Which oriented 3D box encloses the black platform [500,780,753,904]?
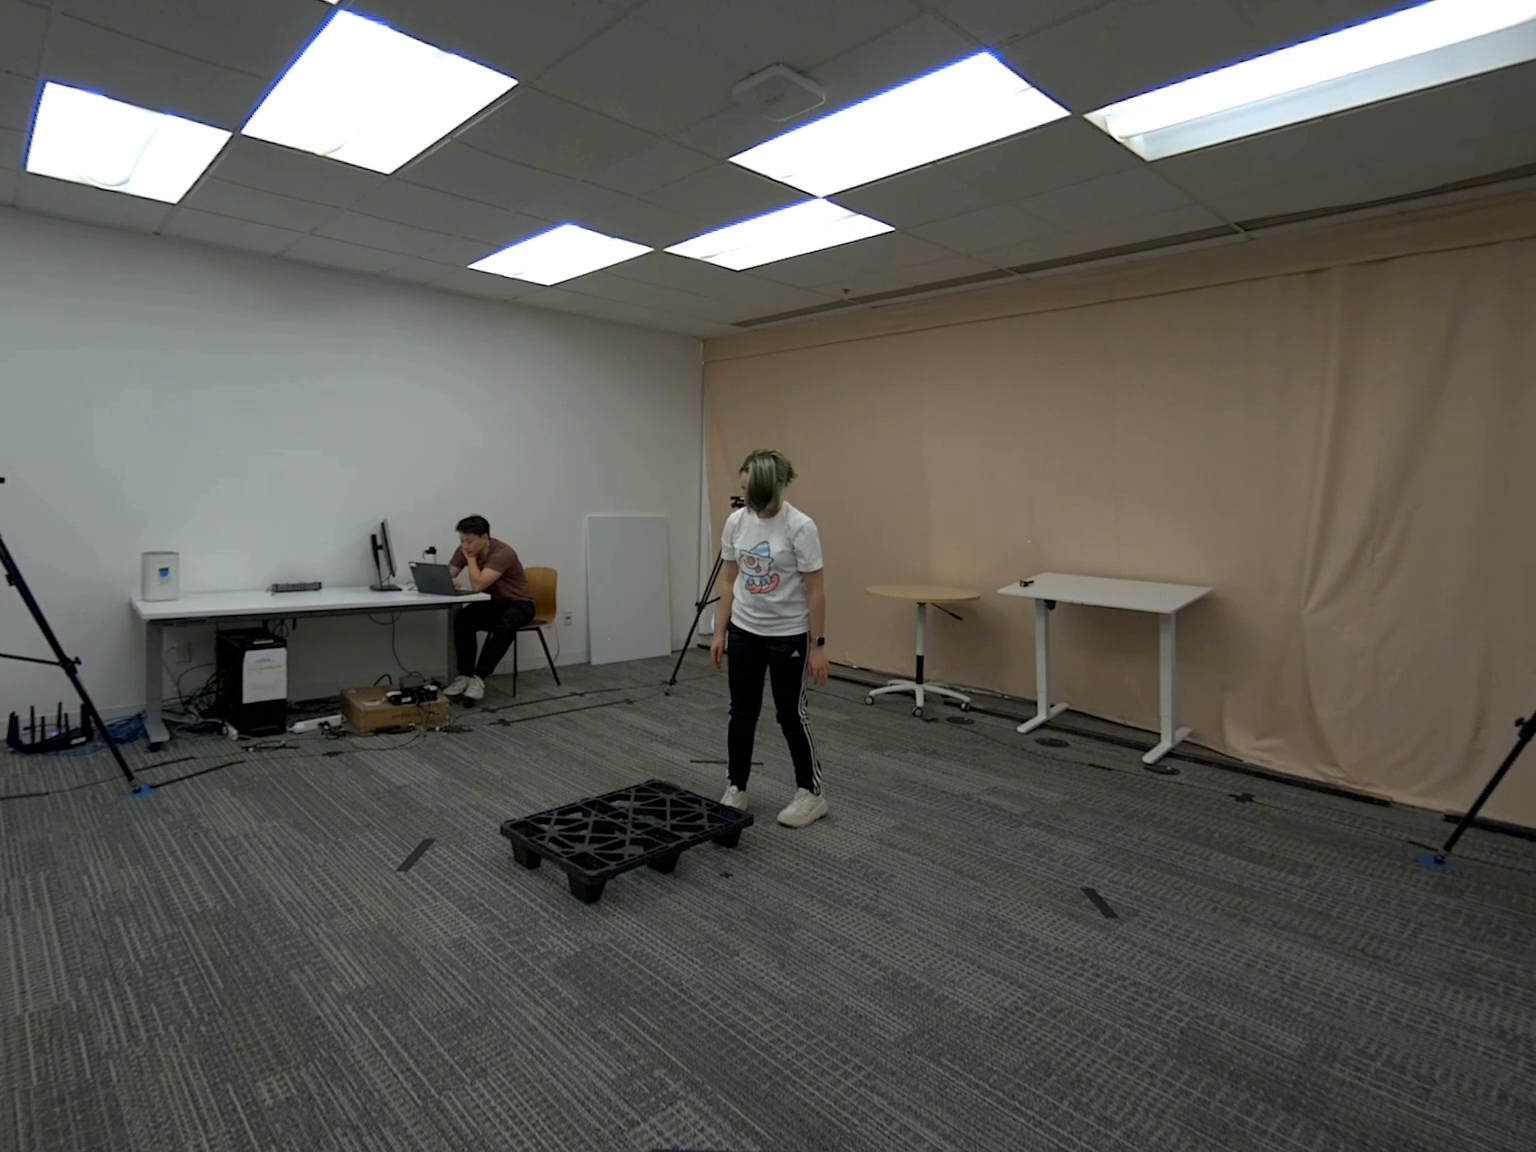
[{"bbox_3d":[-0.540,1.014,3.272,0.621,0.143,0.787,7,8,43],"label":"black platform"}]
